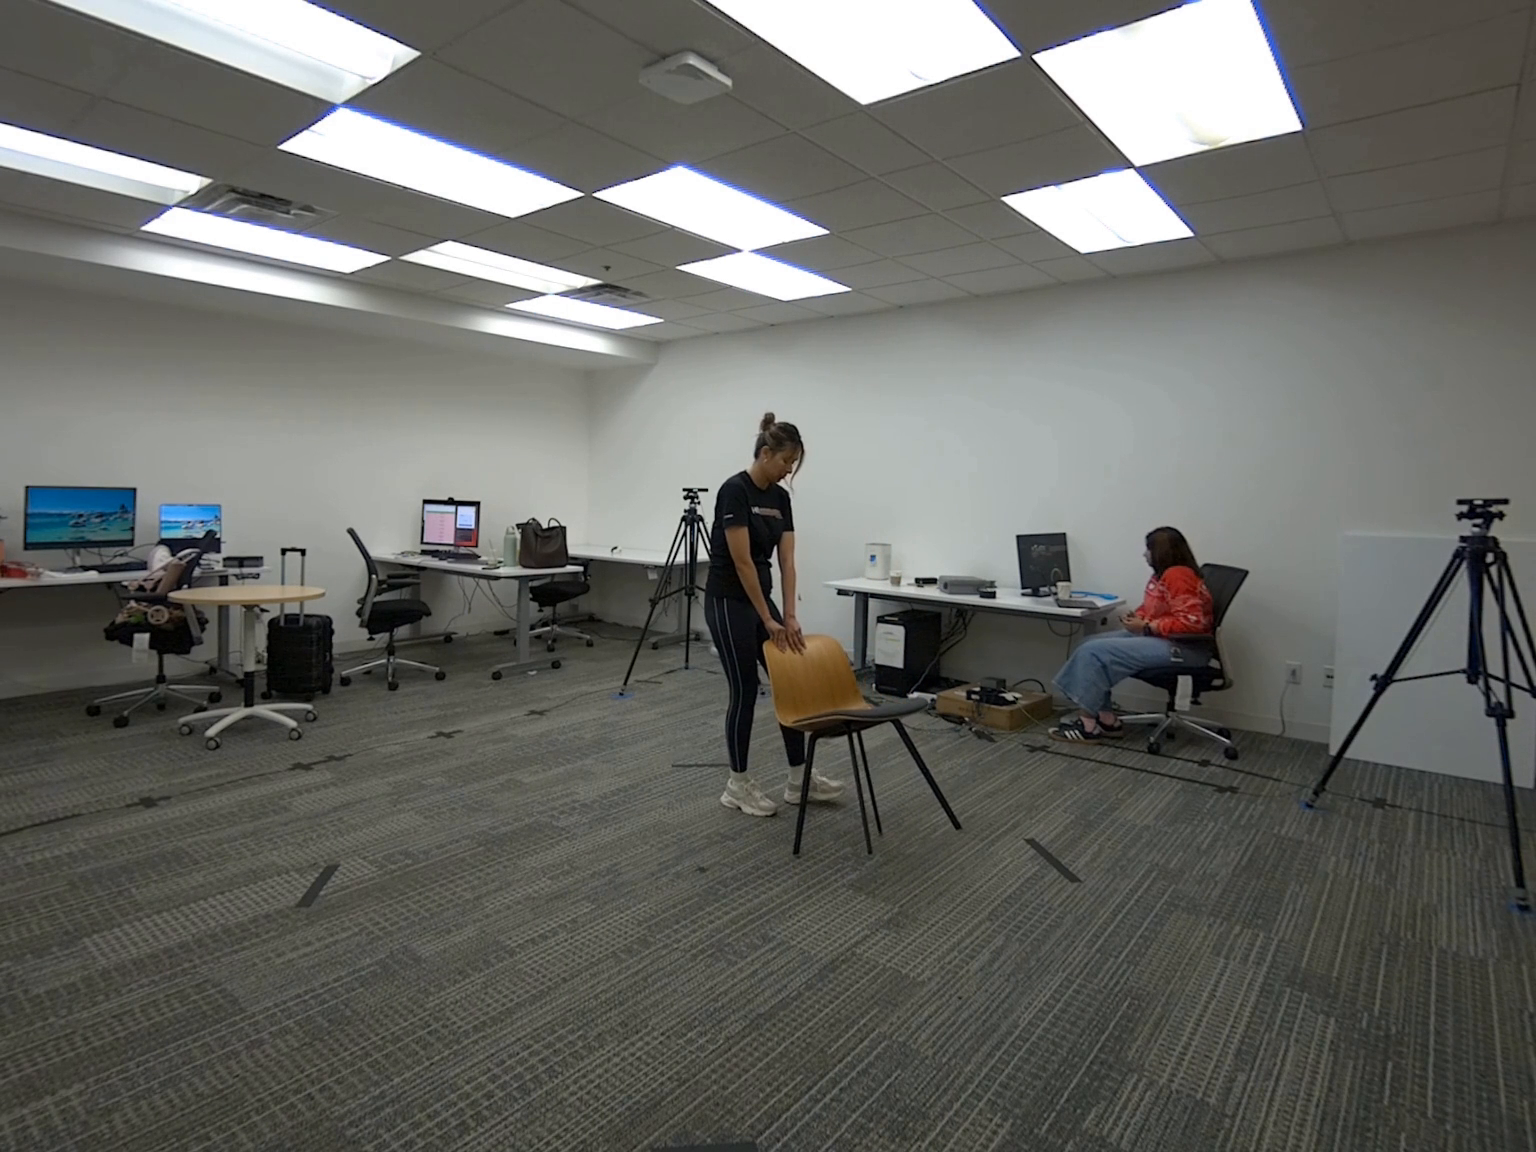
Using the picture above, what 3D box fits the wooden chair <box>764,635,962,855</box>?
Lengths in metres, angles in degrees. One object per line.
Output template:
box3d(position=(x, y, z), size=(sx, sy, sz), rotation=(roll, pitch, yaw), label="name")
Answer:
box3d(position=(0.324, 0.584, 3.282), size=(0.464, 0.896, 0.528), rotation=(0, -21, -34), label="wooden chair")
